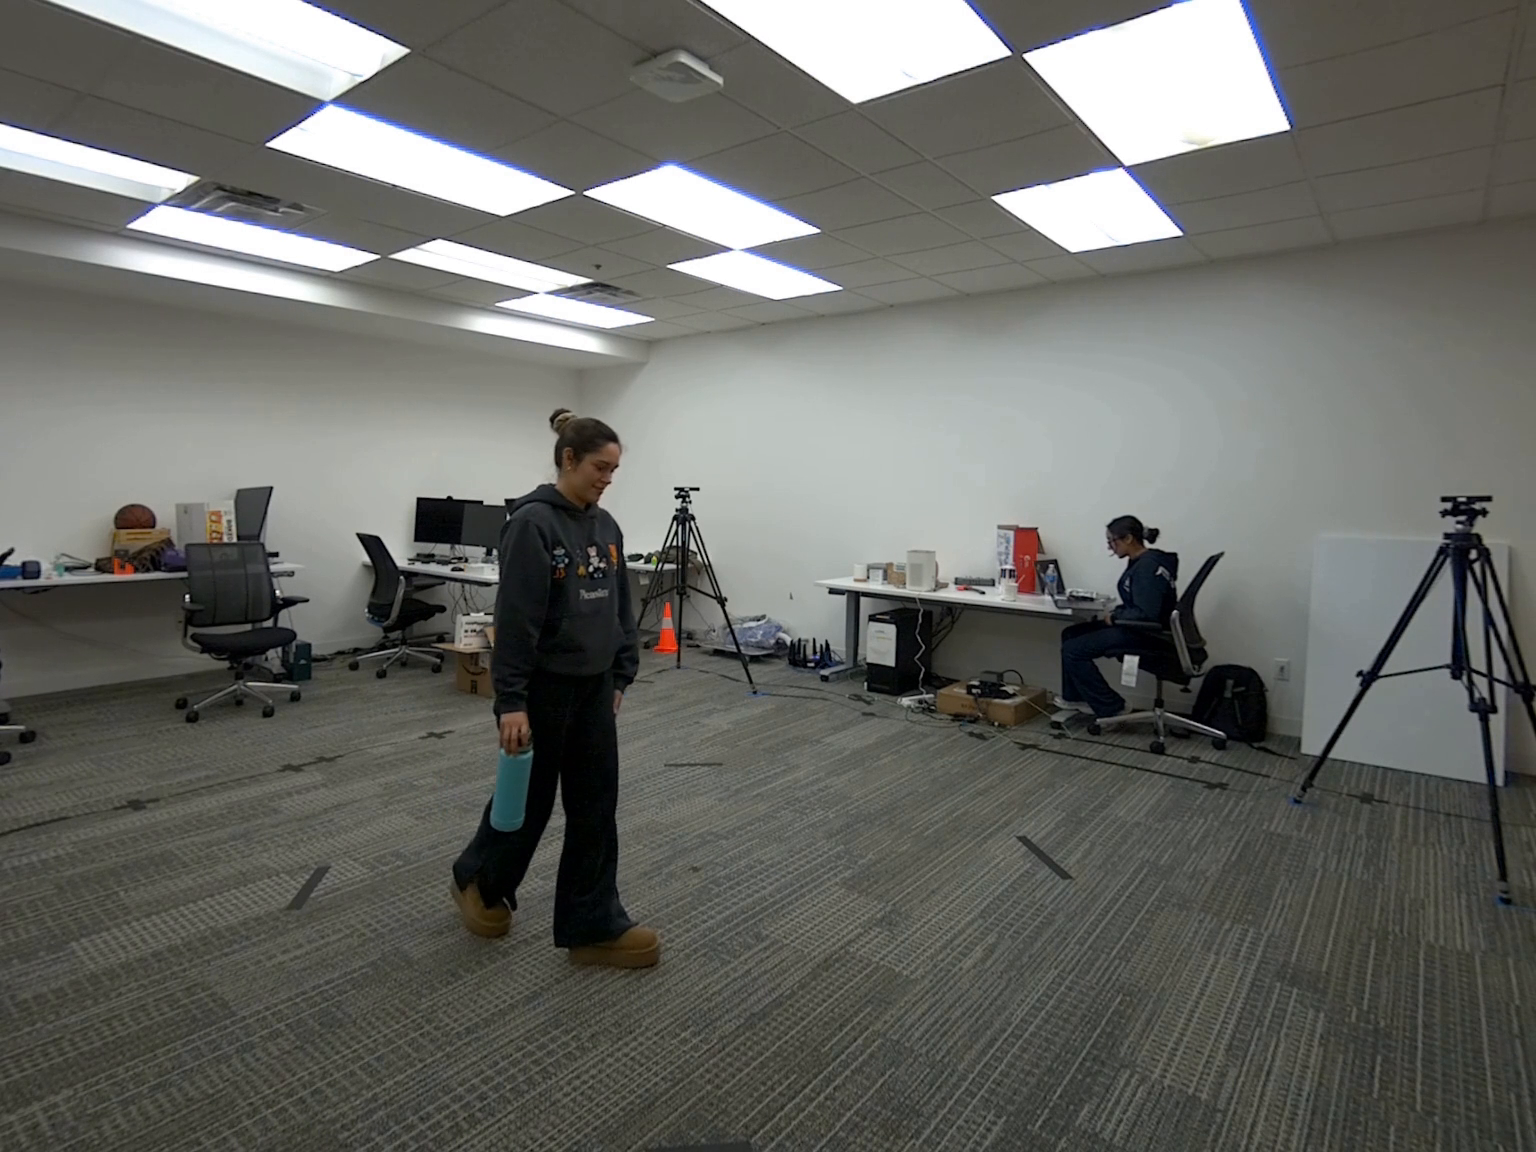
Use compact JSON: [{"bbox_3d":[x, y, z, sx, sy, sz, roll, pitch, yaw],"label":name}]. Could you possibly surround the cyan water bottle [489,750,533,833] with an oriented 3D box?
[{"bbox_3d":[-0.708,0.549,2.317,0.092,0.281,0.093,10,11,-4],"label":"cyan water bottle"}]
